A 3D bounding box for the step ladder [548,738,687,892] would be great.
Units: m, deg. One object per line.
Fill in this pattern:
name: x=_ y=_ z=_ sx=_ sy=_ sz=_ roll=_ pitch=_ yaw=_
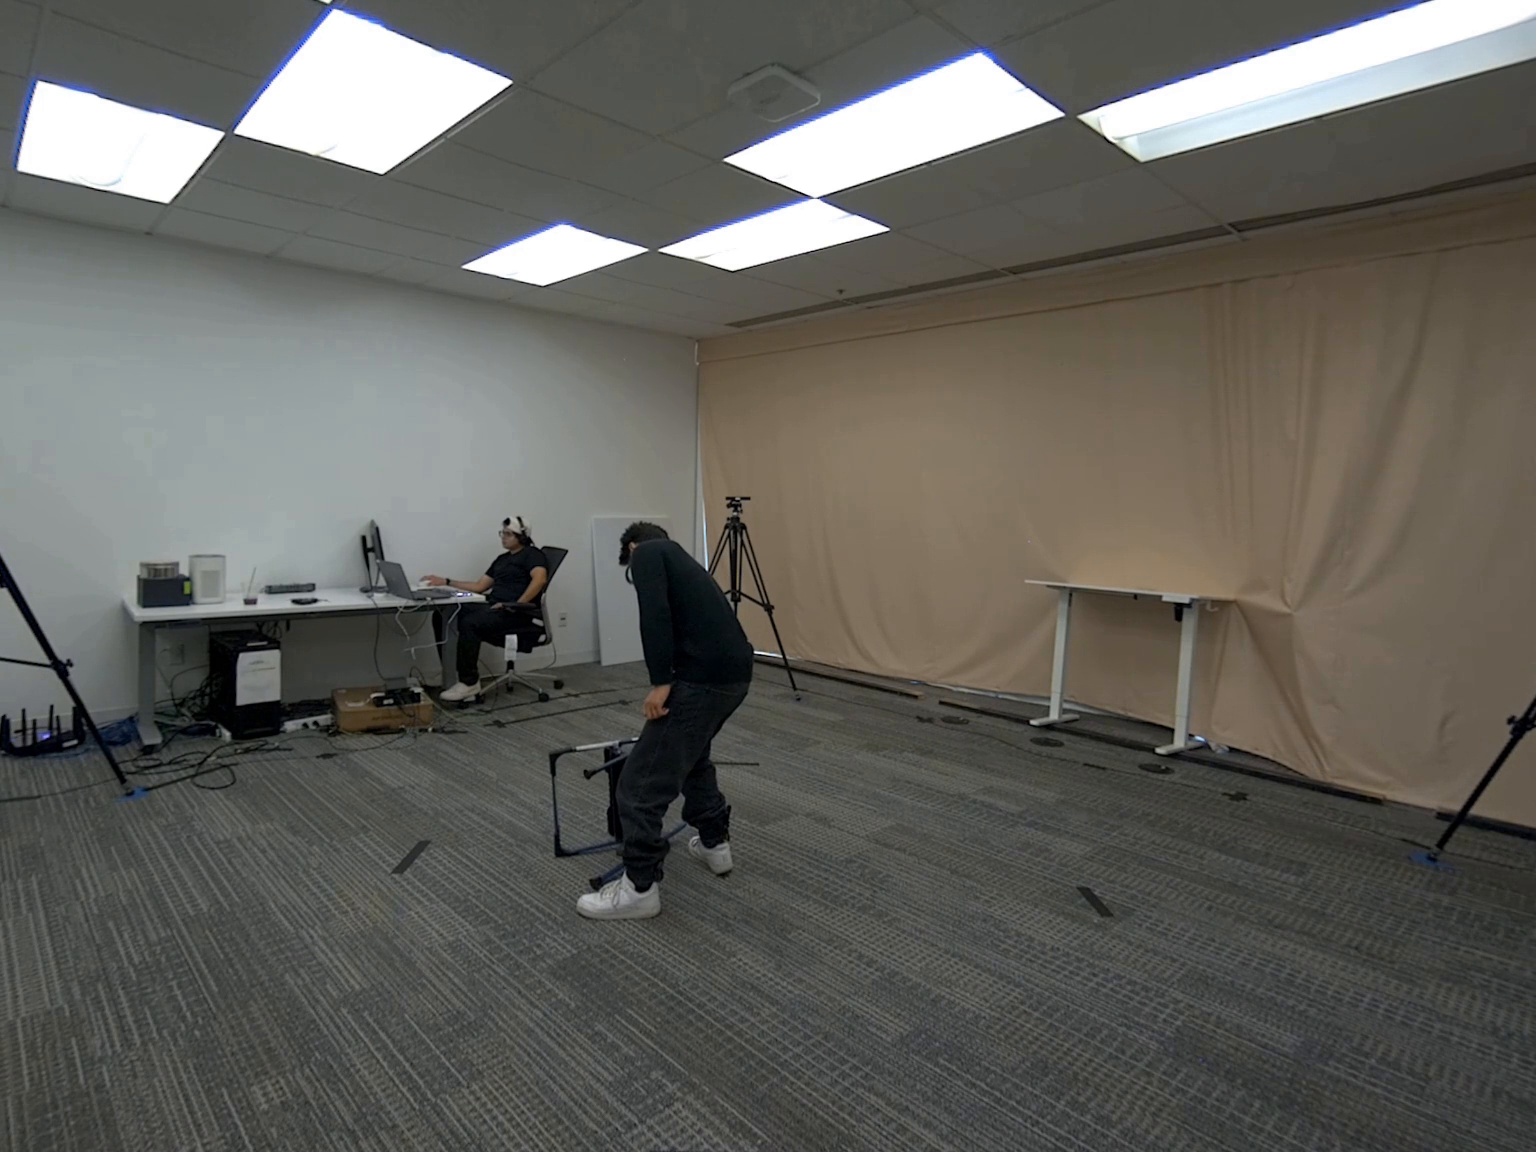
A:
step ladder: x=-0.502 y=0.856 z=3.266 sx=0.593 sy=0.429 sz=0.358 roll=-6 pitch=7 yaw=-38
